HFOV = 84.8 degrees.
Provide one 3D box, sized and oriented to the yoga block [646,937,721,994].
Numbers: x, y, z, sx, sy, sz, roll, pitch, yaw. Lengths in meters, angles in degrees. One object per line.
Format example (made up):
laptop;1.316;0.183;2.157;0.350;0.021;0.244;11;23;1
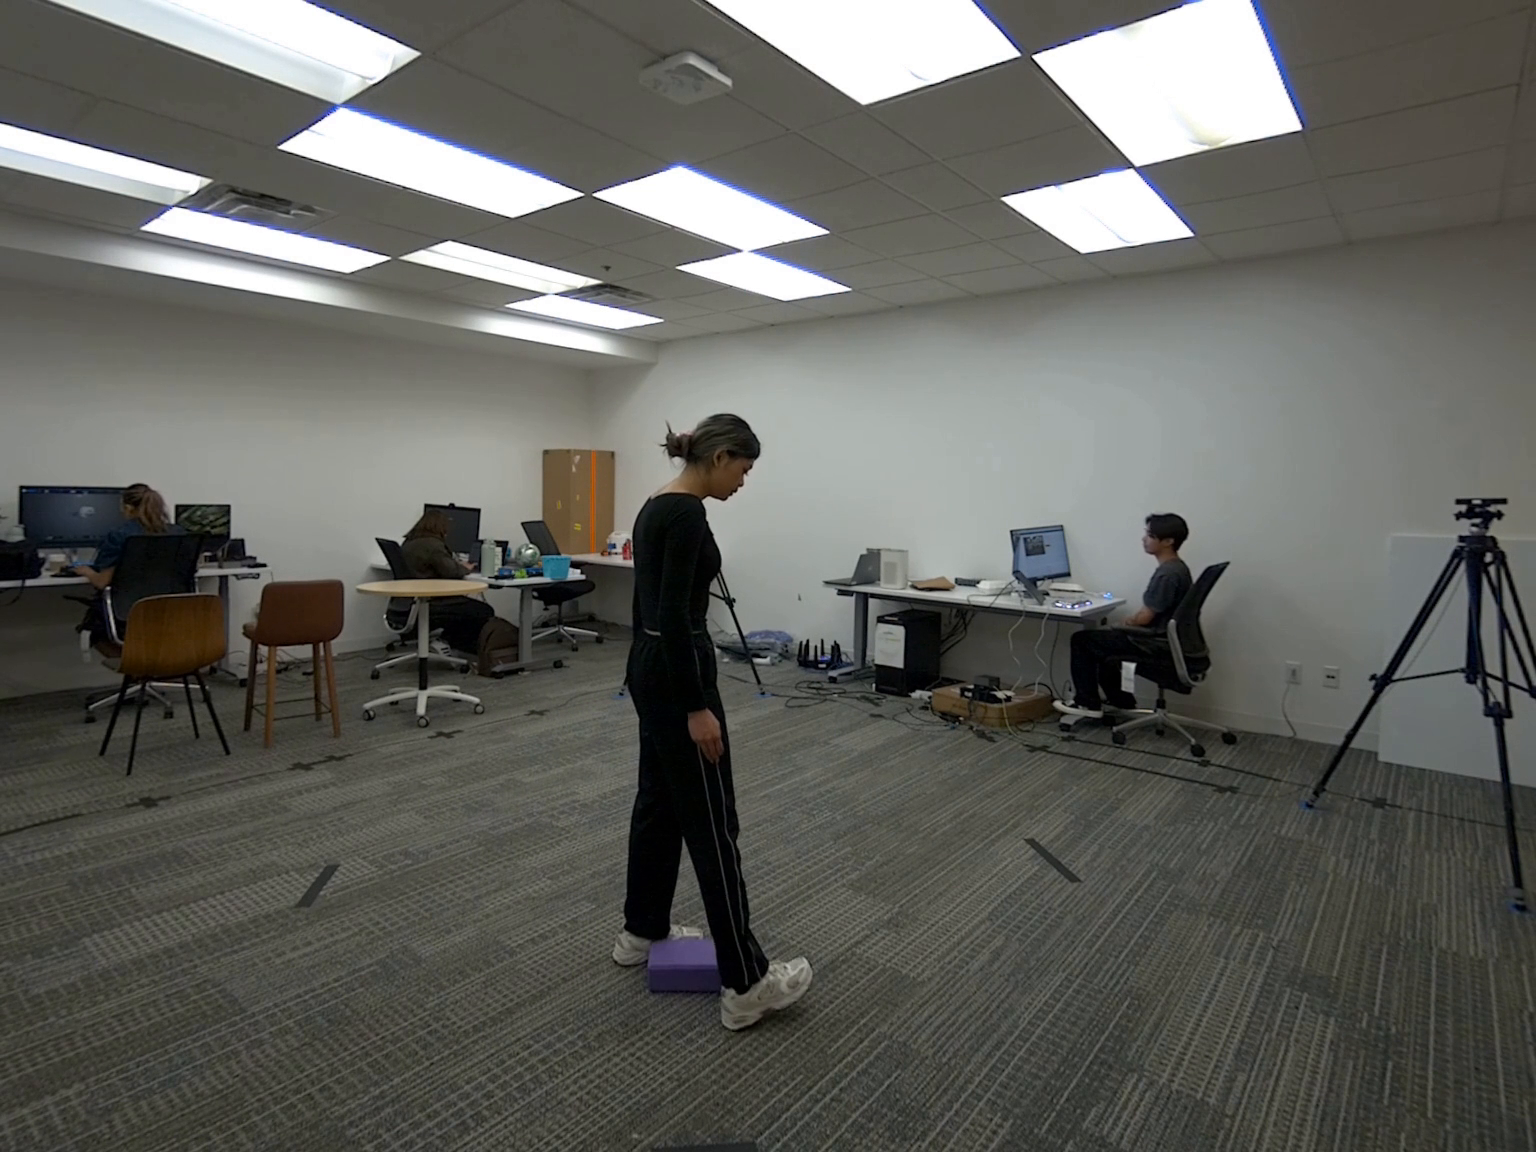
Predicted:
yoga block;-0.229;1.102;2.407;0.229;0.076;0.150;0;6;-2
